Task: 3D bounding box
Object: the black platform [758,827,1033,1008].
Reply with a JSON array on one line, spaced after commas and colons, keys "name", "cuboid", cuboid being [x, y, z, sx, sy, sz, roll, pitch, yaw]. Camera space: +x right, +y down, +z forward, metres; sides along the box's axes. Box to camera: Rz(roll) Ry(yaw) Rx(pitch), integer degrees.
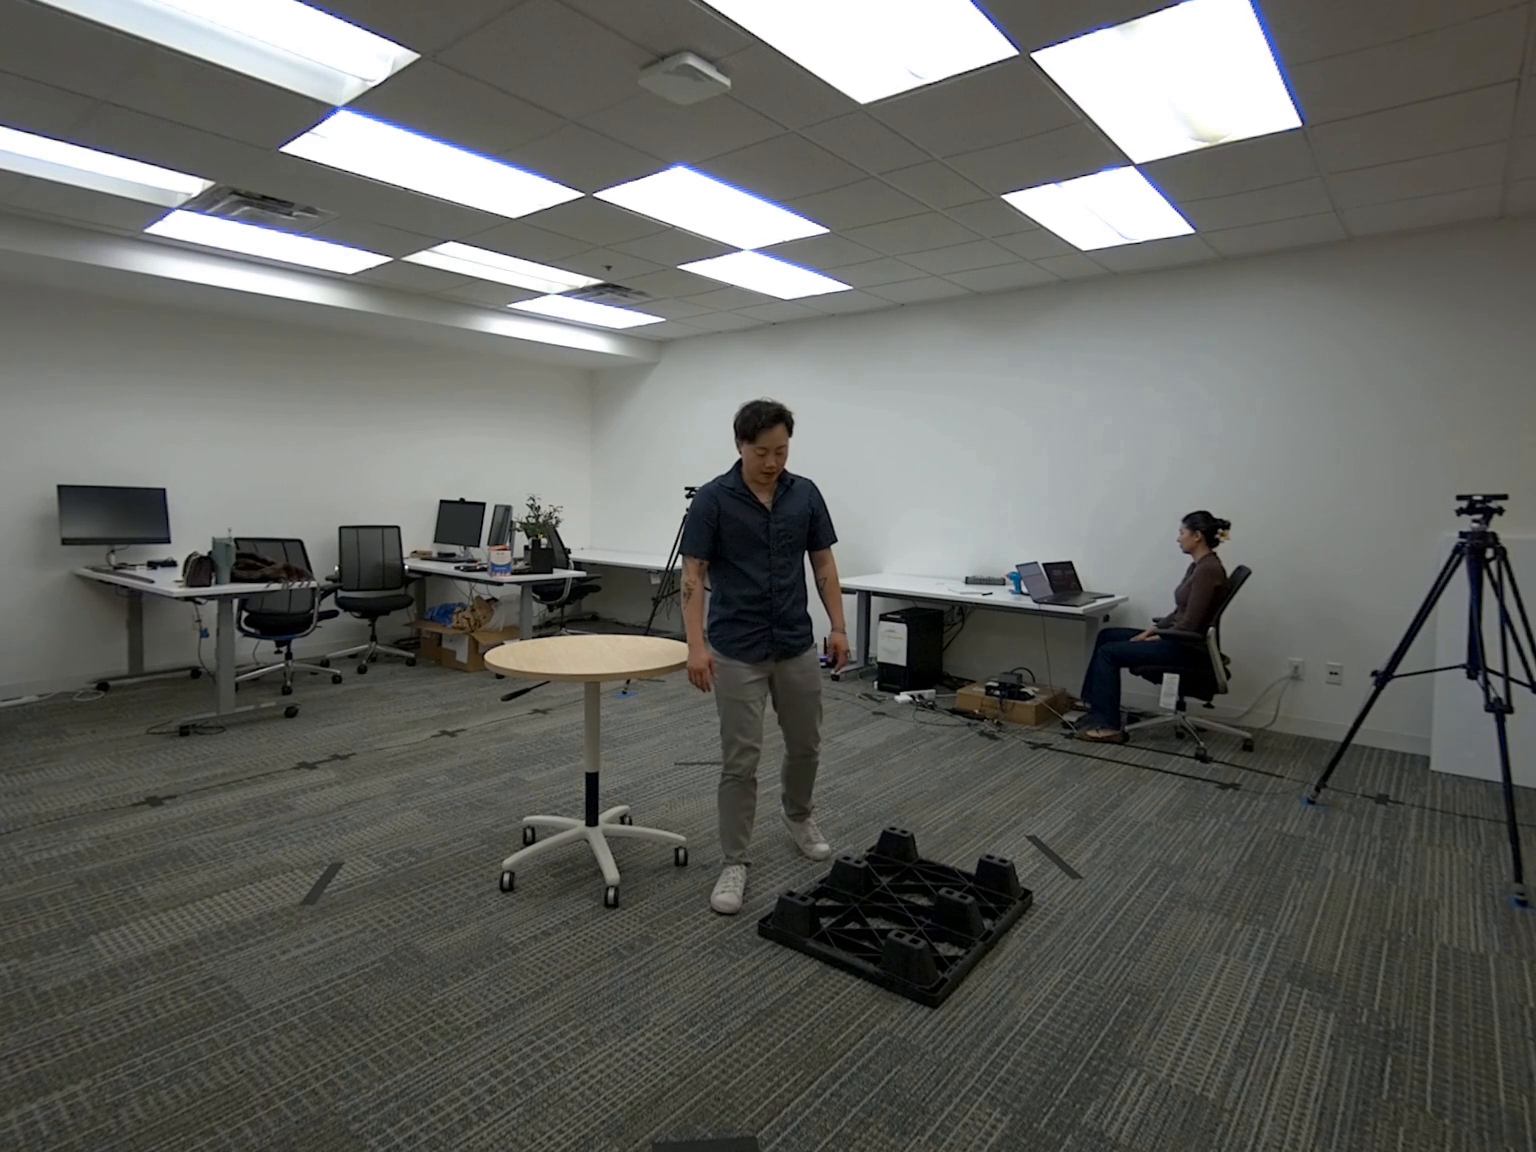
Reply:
[{"name": "black platform", "cuboid": [0.429, 1.045, 2.765, 0.625, 0.143, 0.783, 5, 7, 37]}]
